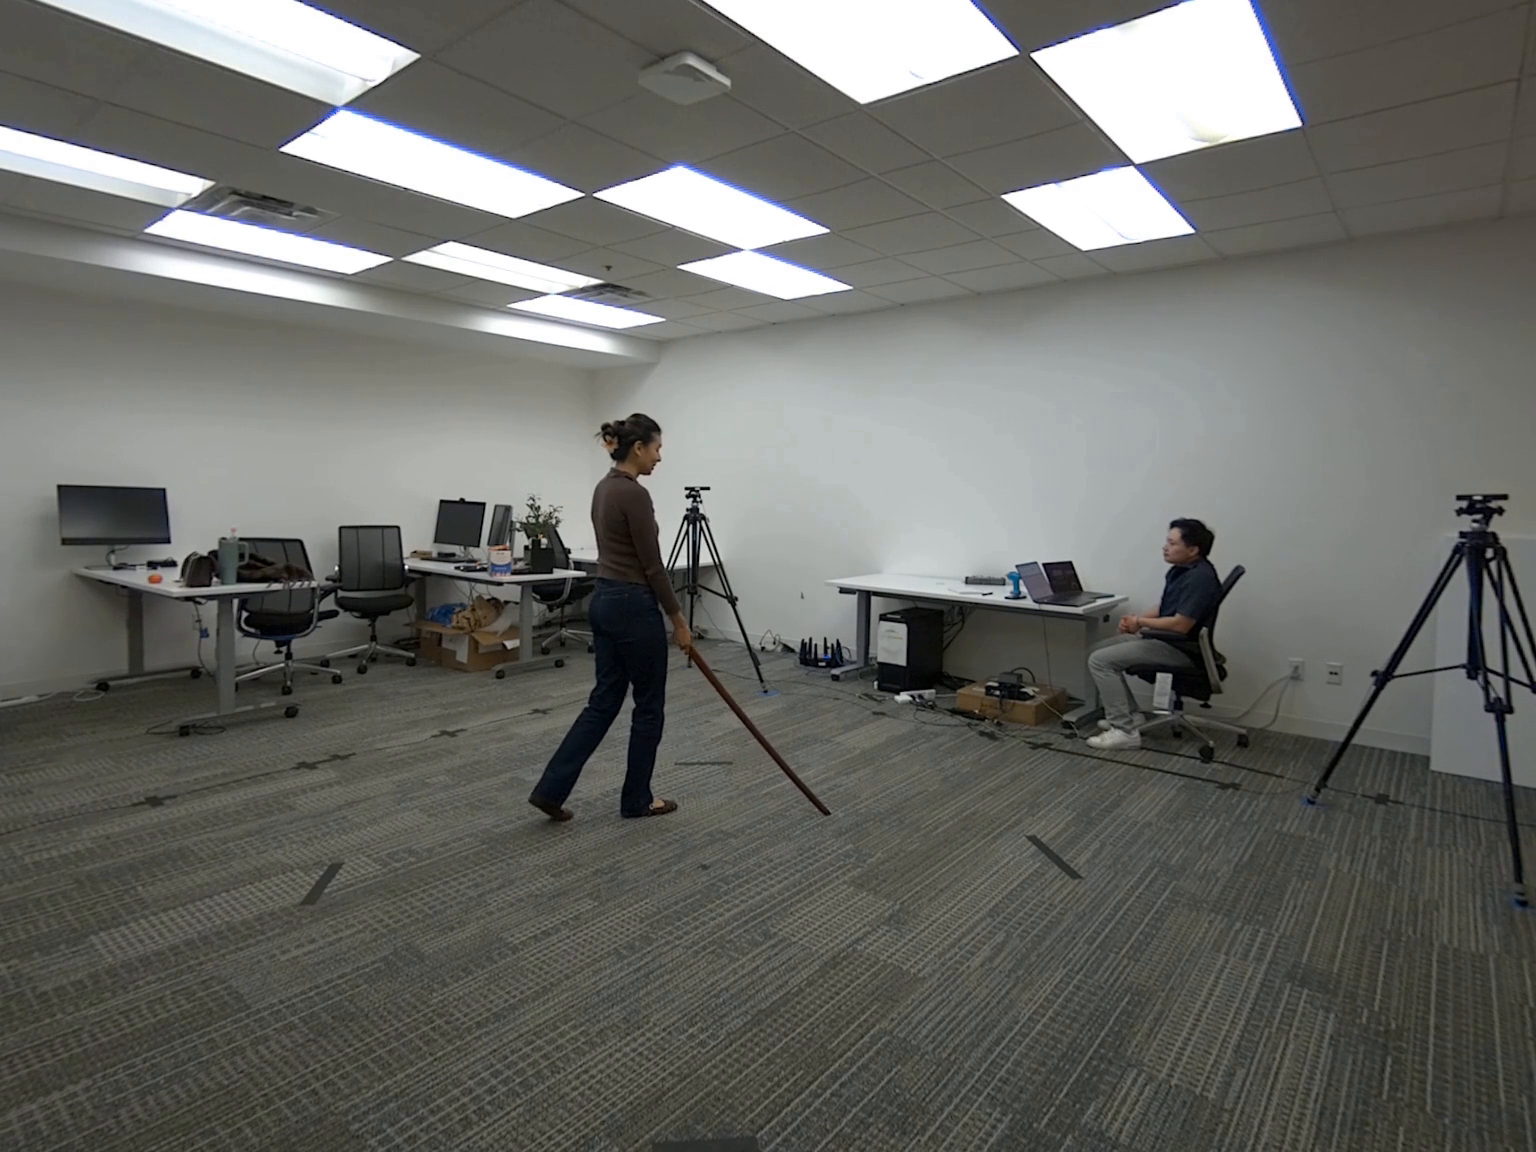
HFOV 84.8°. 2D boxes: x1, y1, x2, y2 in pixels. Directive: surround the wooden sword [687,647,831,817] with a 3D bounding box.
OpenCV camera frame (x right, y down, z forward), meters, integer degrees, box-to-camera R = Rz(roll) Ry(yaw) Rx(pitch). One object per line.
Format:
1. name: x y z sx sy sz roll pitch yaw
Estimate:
1. wooden sword: -0.068 0.634 3.592 0.024 1.013 0.052 -39 8 -3
